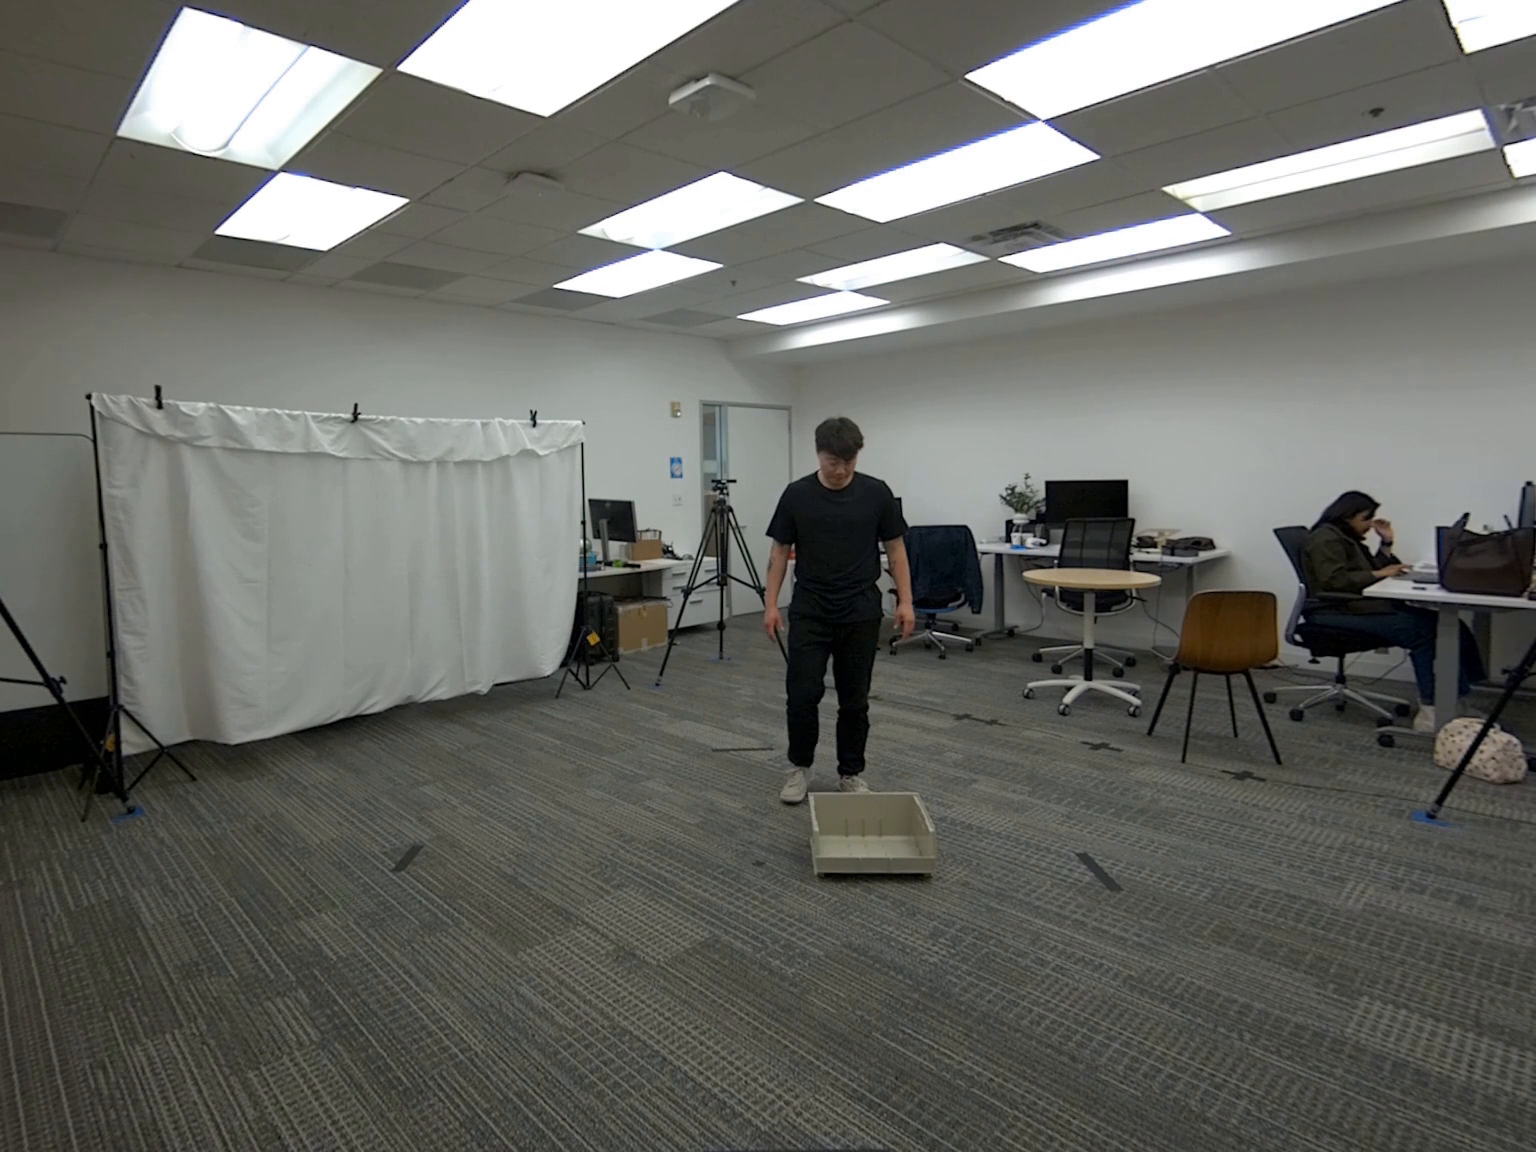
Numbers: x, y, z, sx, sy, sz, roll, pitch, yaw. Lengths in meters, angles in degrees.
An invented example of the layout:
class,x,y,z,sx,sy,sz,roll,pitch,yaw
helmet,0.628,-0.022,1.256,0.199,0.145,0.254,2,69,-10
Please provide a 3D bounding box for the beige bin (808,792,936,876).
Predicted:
class,x,y,z,sx,sy,sz,roll,pitch,yaw
beige bin,0.374,0.958,3.121,0.423,0.188,0.378,-2,5,1
